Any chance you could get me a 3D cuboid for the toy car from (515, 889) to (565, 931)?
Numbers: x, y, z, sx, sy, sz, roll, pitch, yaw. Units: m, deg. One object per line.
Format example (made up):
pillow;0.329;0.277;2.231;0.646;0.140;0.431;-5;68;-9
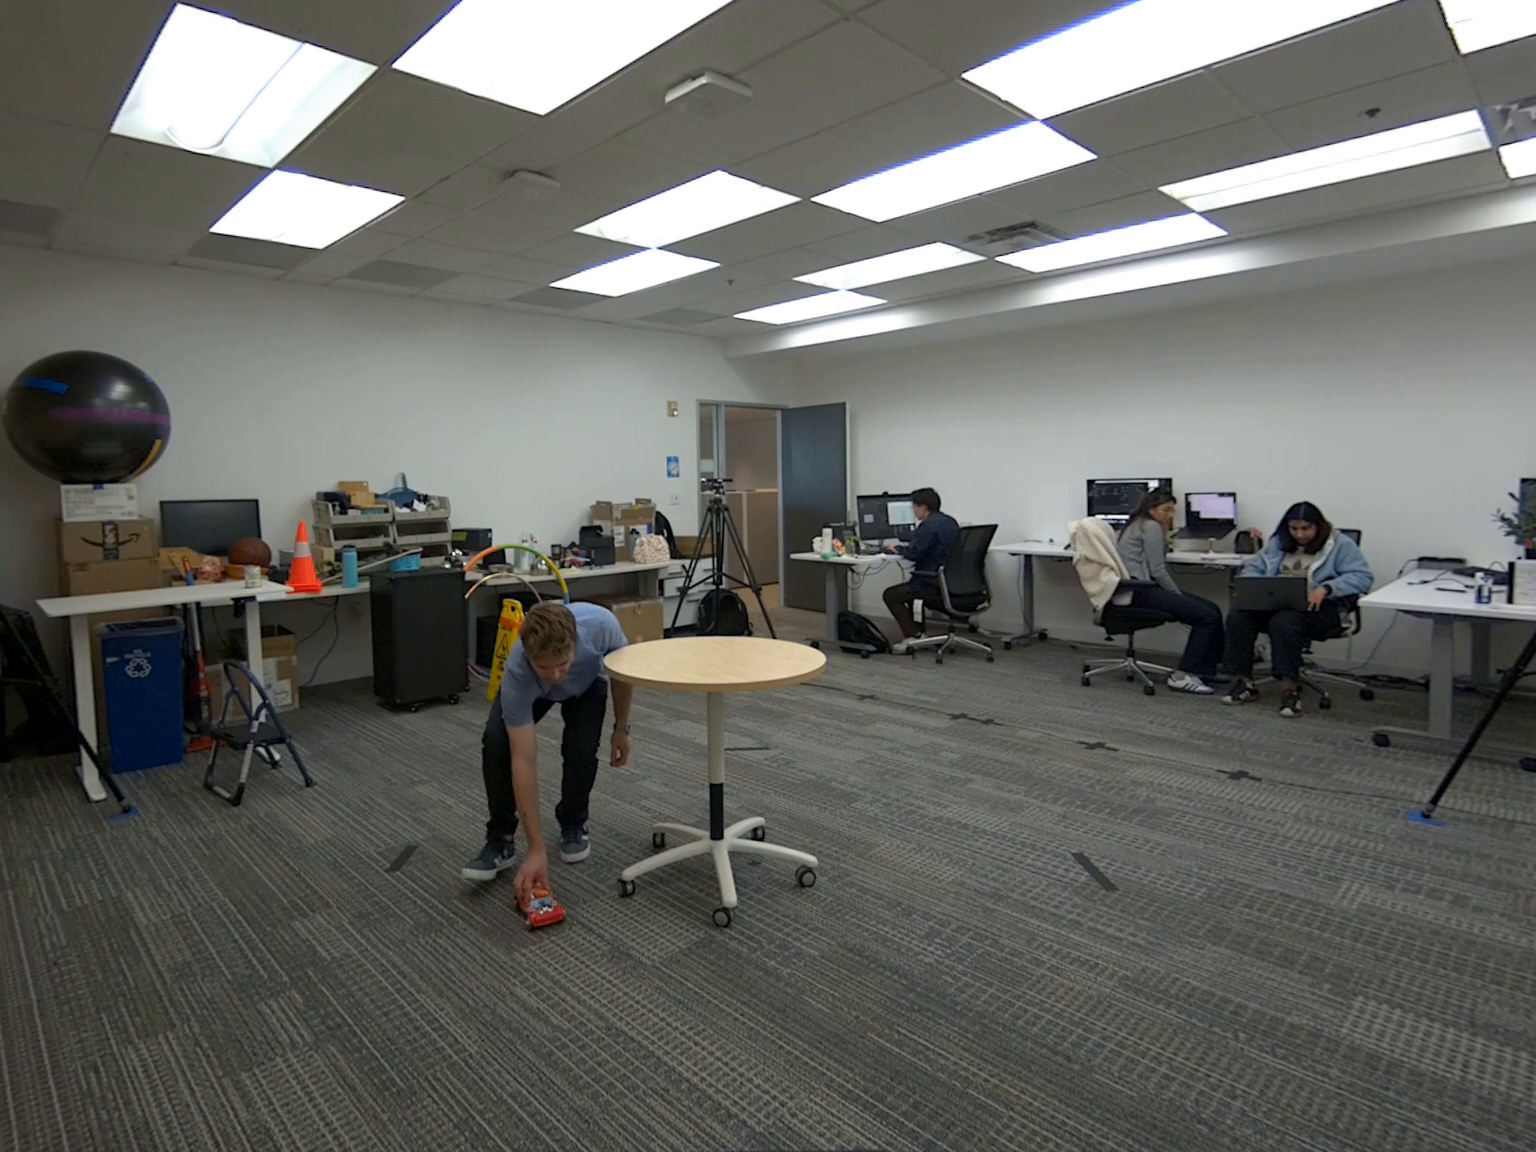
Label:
toy car;-0.748;1.069;2.779;0.127;0.082;0.263;-5;17;-30
